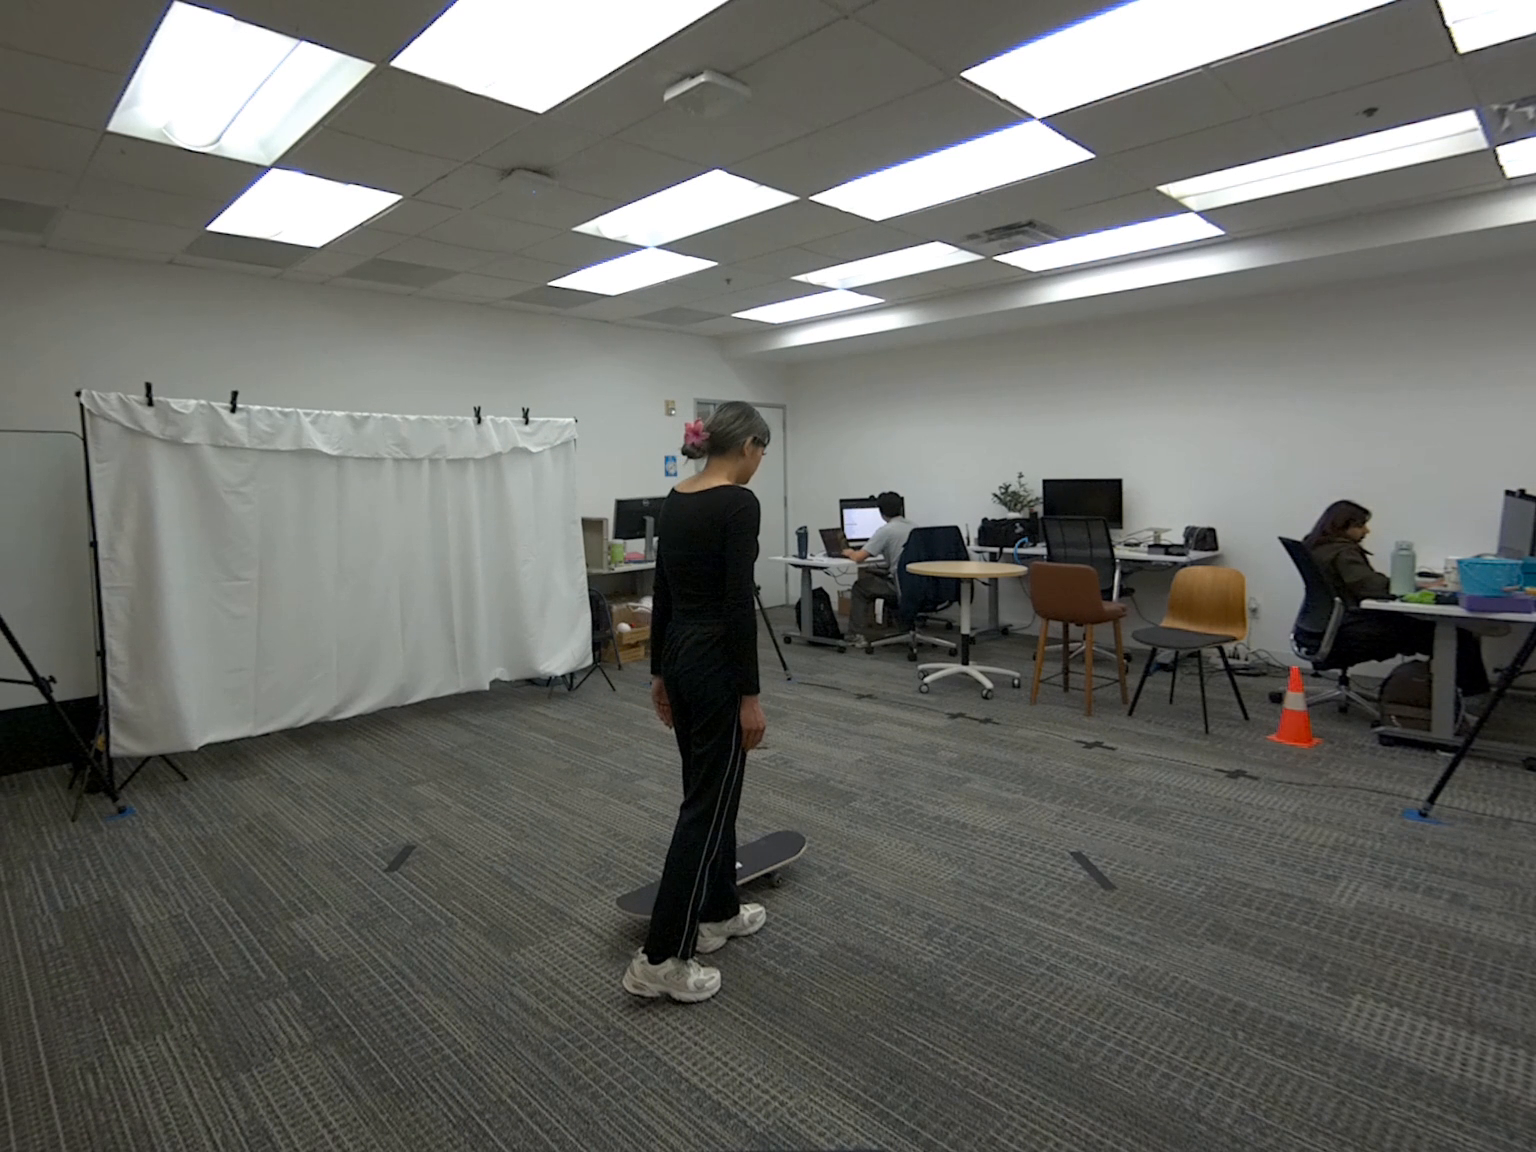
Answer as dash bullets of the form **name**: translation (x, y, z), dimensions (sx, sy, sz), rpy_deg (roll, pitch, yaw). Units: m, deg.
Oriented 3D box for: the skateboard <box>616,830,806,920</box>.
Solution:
- **skateboard**: translation (-0.166, 1.021, 2.834), dimensions (0.765, 0.110, 0.199), rpy_deg (-7, 7, -44)
